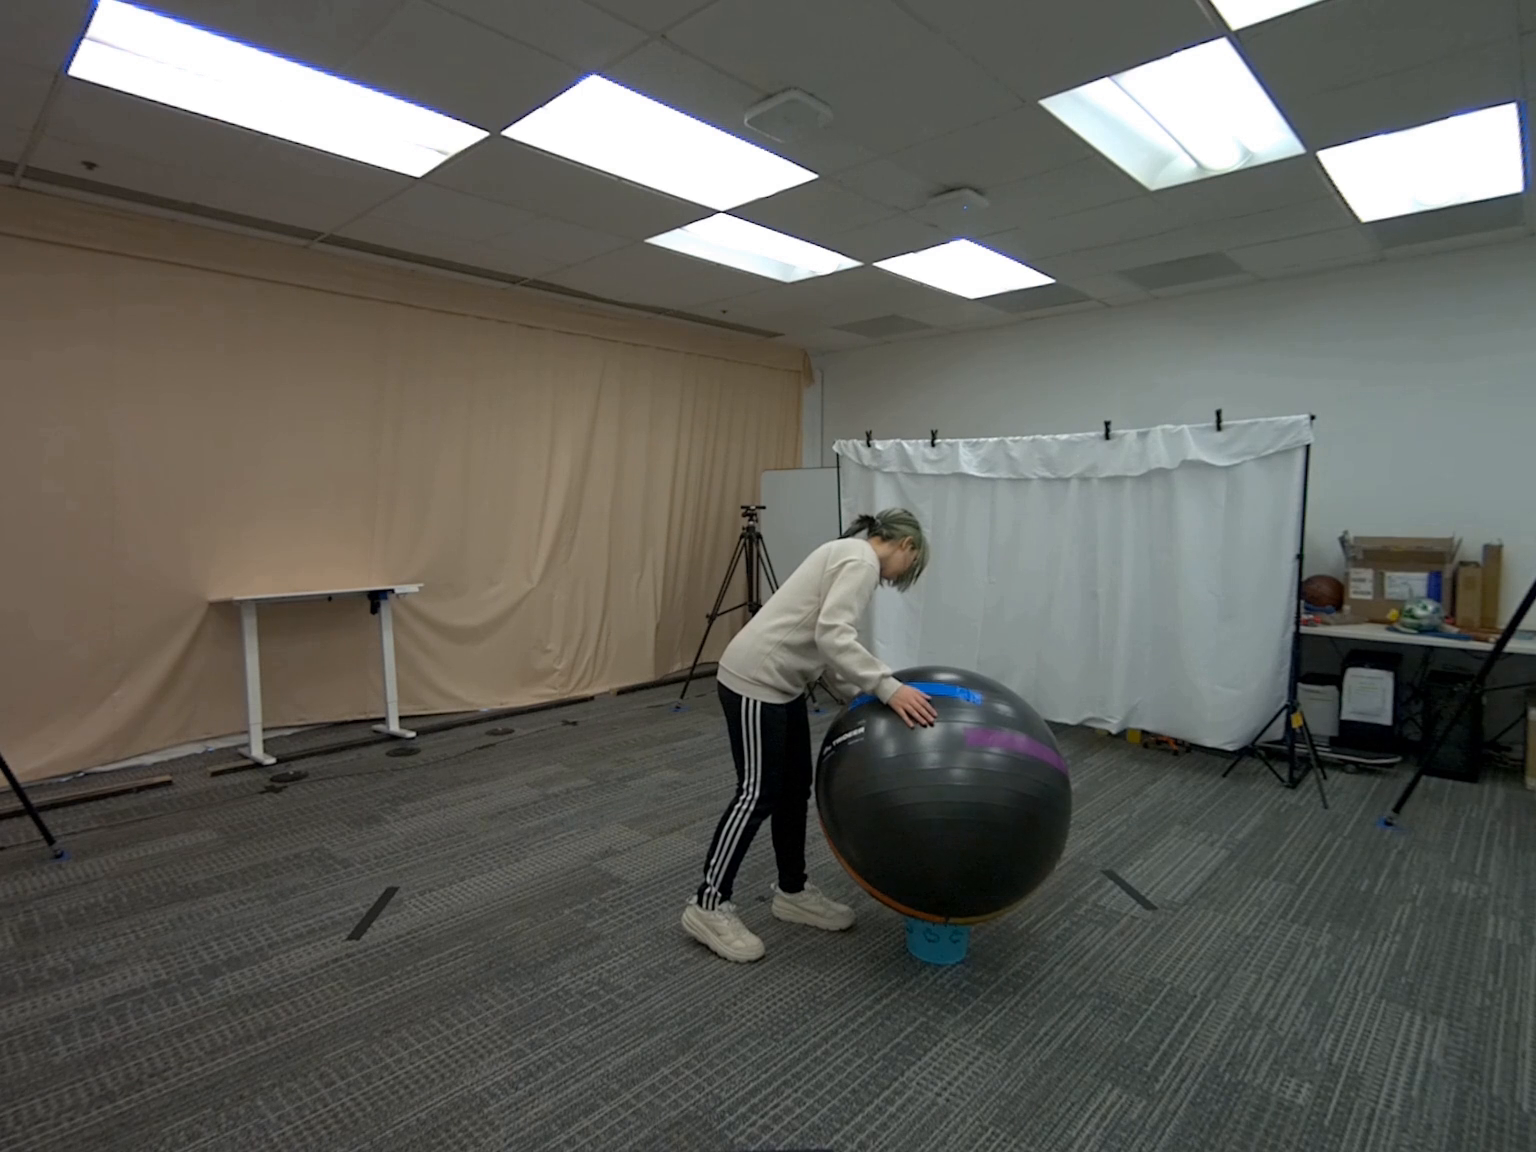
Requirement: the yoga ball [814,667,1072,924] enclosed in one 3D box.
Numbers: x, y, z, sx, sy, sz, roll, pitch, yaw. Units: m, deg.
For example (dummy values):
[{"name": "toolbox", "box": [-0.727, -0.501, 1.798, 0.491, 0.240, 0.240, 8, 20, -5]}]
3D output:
[{"name": "yoga ball", "box": [0.537, 0.660, 2.596, 0.757, 0.756, 0.760, 0, 4, -2]}]
